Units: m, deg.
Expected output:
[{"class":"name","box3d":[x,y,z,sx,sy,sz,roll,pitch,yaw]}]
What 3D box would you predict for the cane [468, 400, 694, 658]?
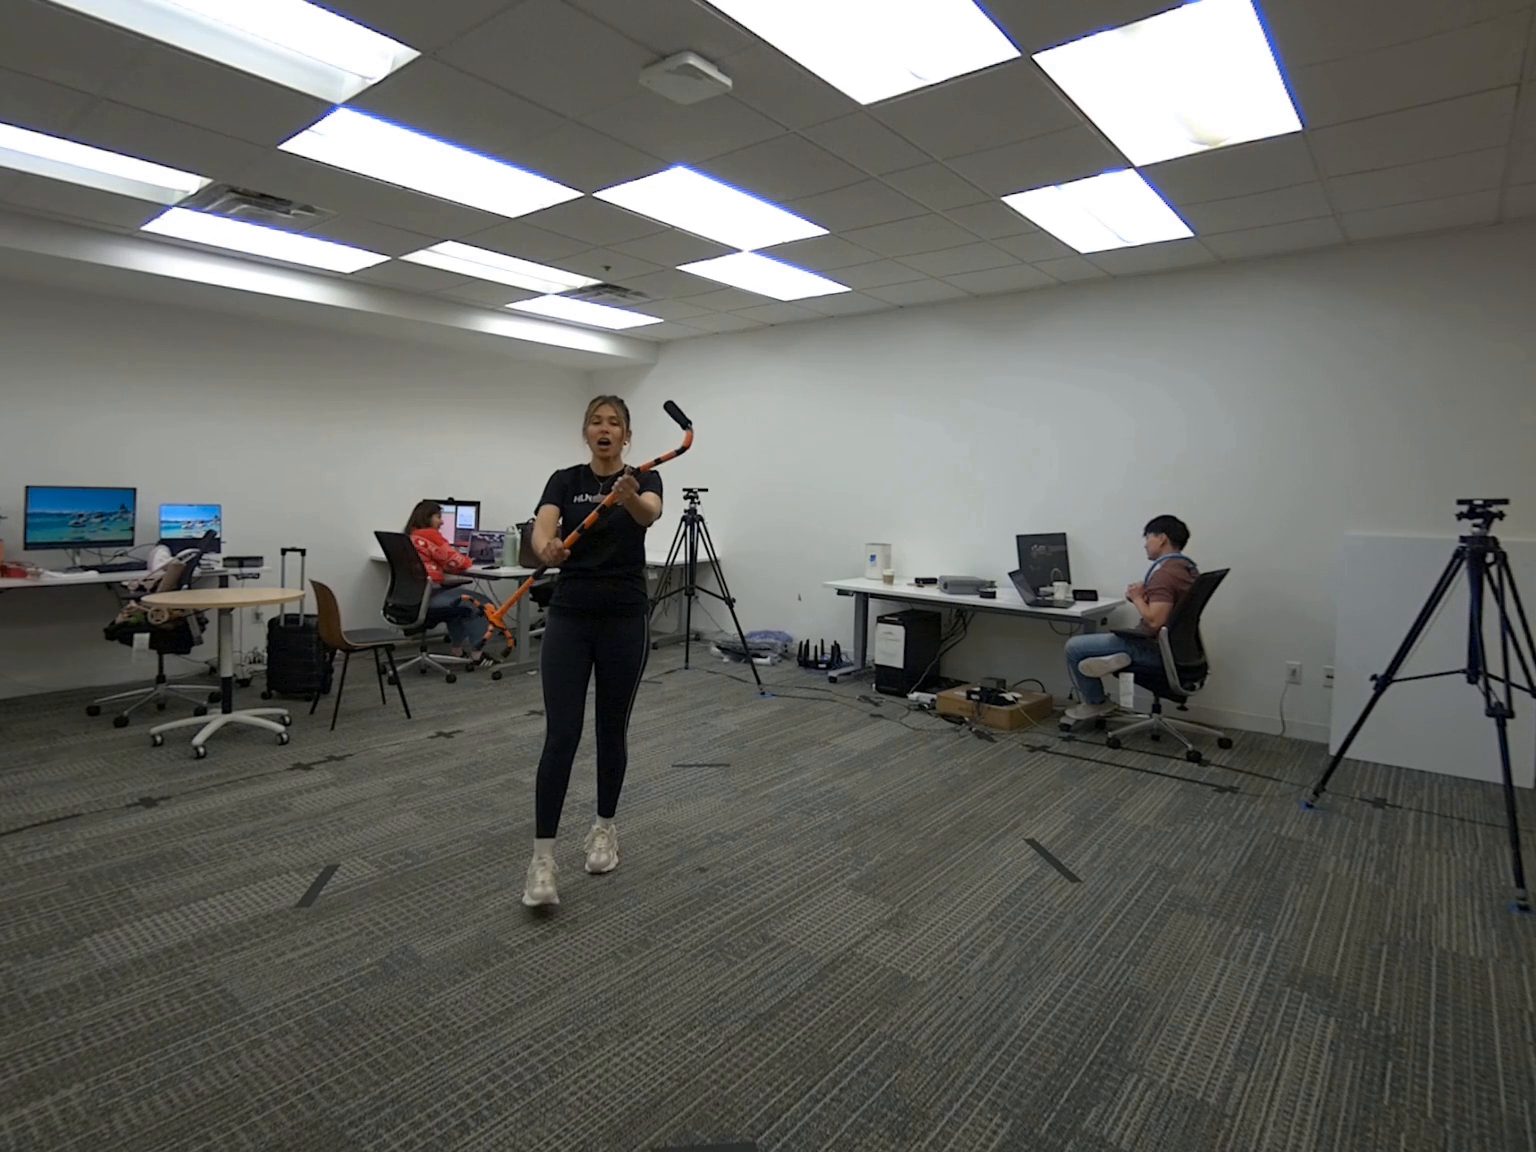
[{"class":"cane","box3d":[-0.564,-0.154,2.539,0.213,0.908,0.147,49,8,21]}]
